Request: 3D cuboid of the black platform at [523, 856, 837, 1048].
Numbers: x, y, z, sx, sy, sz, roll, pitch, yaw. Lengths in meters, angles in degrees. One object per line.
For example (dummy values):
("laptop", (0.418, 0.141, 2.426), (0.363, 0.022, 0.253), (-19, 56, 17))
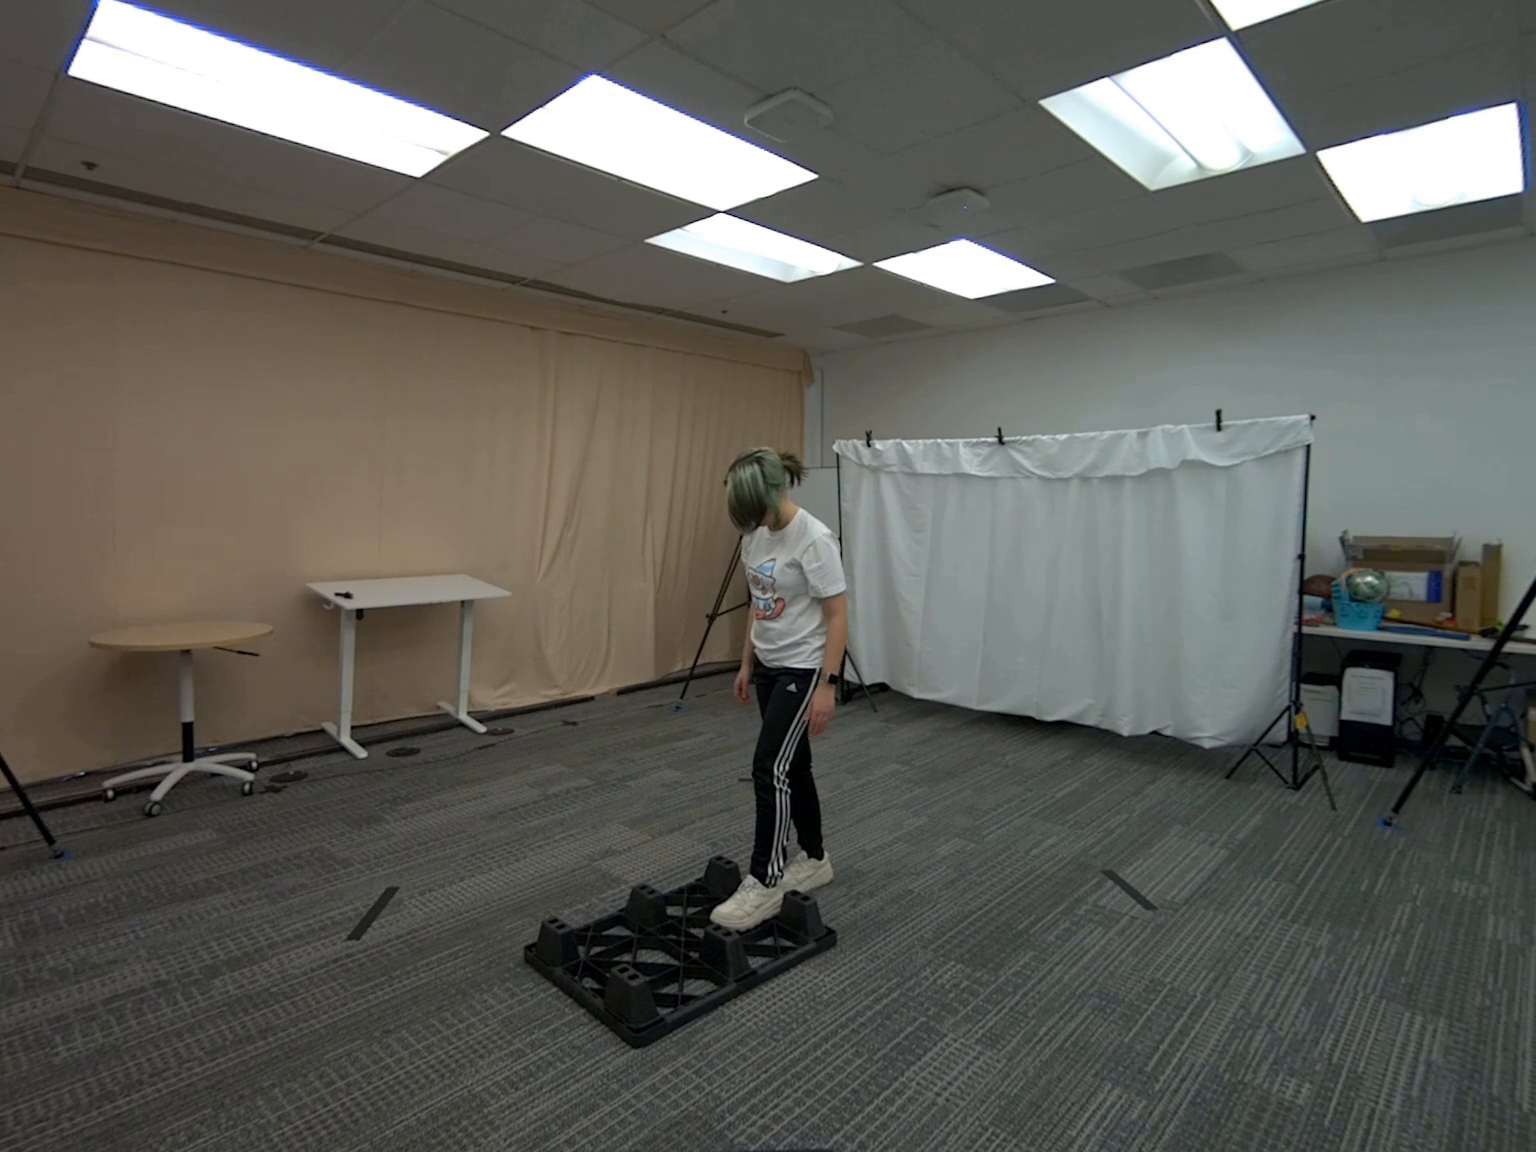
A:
("black platform", (-0.266, 1.111, 2.637), (0.781, 0.143, 0.625), (-4, 7, -44))
